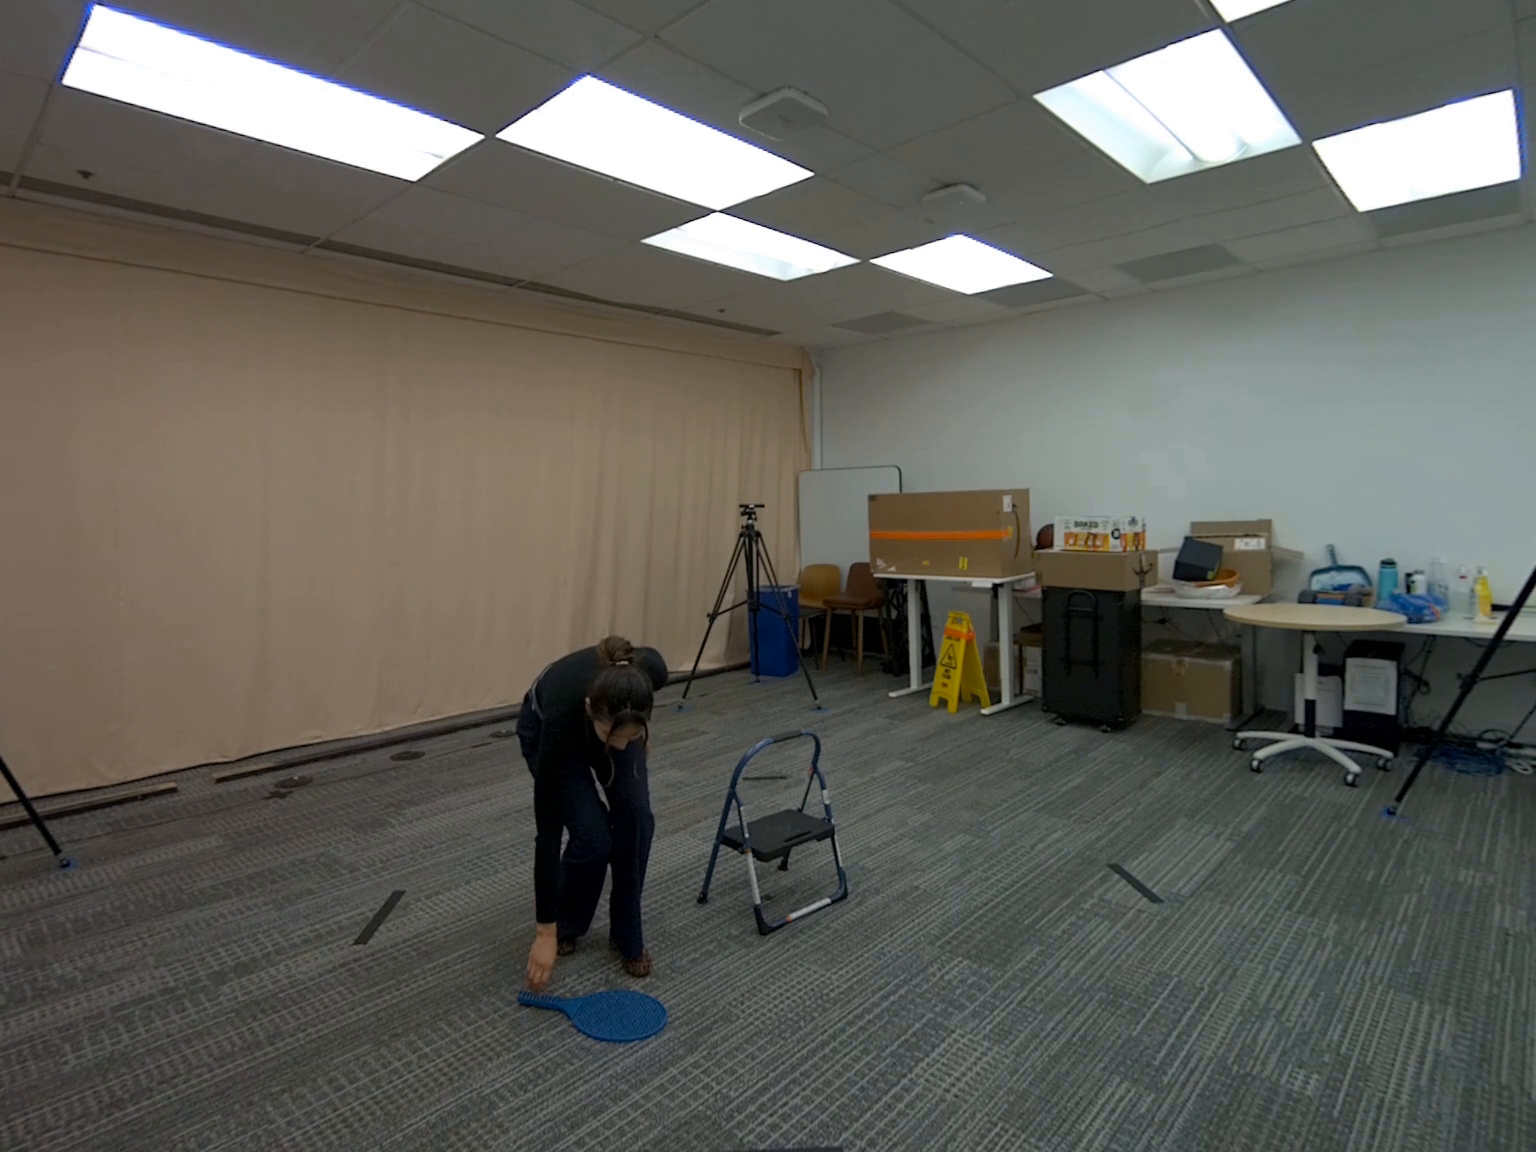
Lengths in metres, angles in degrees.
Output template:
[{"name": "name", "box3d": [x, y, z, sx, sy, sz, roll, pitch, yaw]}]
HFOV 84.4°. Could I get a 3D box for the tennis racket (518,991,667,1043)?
[{"name": "tennis racket", "box3d": [-0.483, 1.190, 2.319, 0.439, 0.031, 0.211, 1, 6, 13]}]
